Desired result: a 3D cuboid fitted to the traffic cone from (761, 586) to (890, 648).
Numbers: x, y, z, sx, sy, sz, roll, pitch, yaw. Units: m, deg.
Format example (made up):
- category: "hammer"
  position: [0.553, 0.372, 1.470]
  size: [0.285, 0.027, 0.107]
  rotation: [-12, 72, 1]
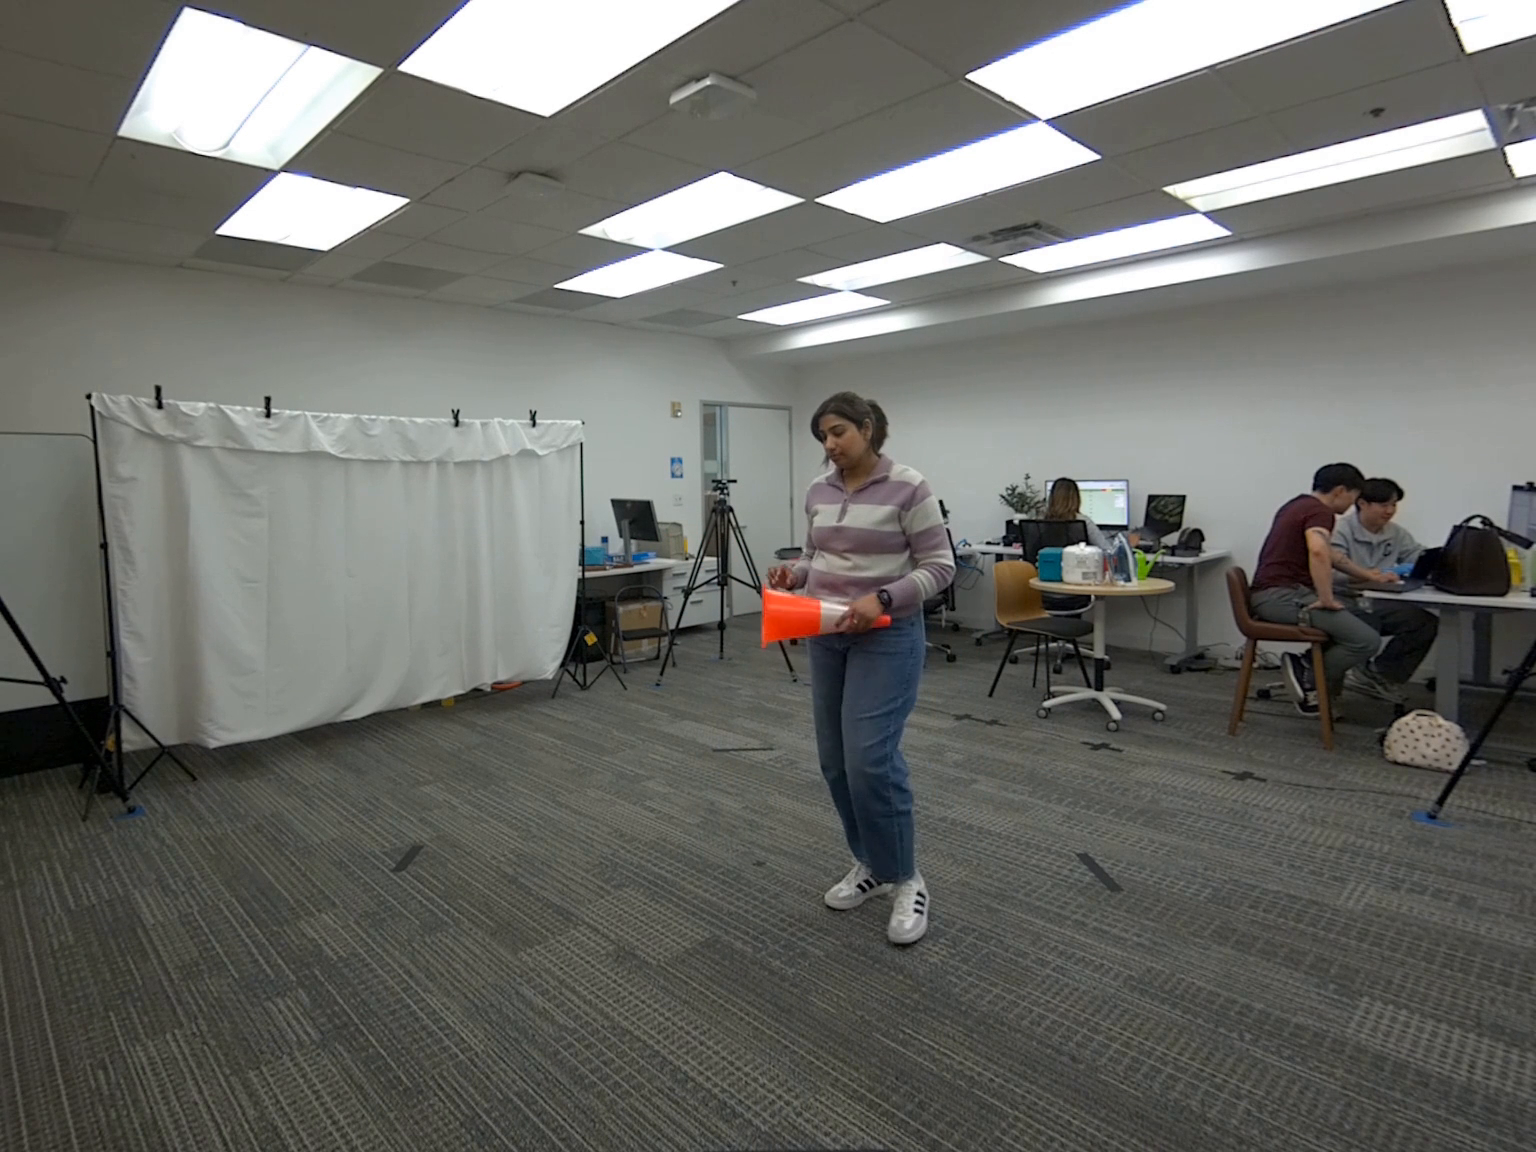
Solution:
- category: "traffic cone"
  position: [0.178, 0.140, 2.547]
  size: [0.387, 0.205, 0.202]
  rotation: [5, -8, 7]
